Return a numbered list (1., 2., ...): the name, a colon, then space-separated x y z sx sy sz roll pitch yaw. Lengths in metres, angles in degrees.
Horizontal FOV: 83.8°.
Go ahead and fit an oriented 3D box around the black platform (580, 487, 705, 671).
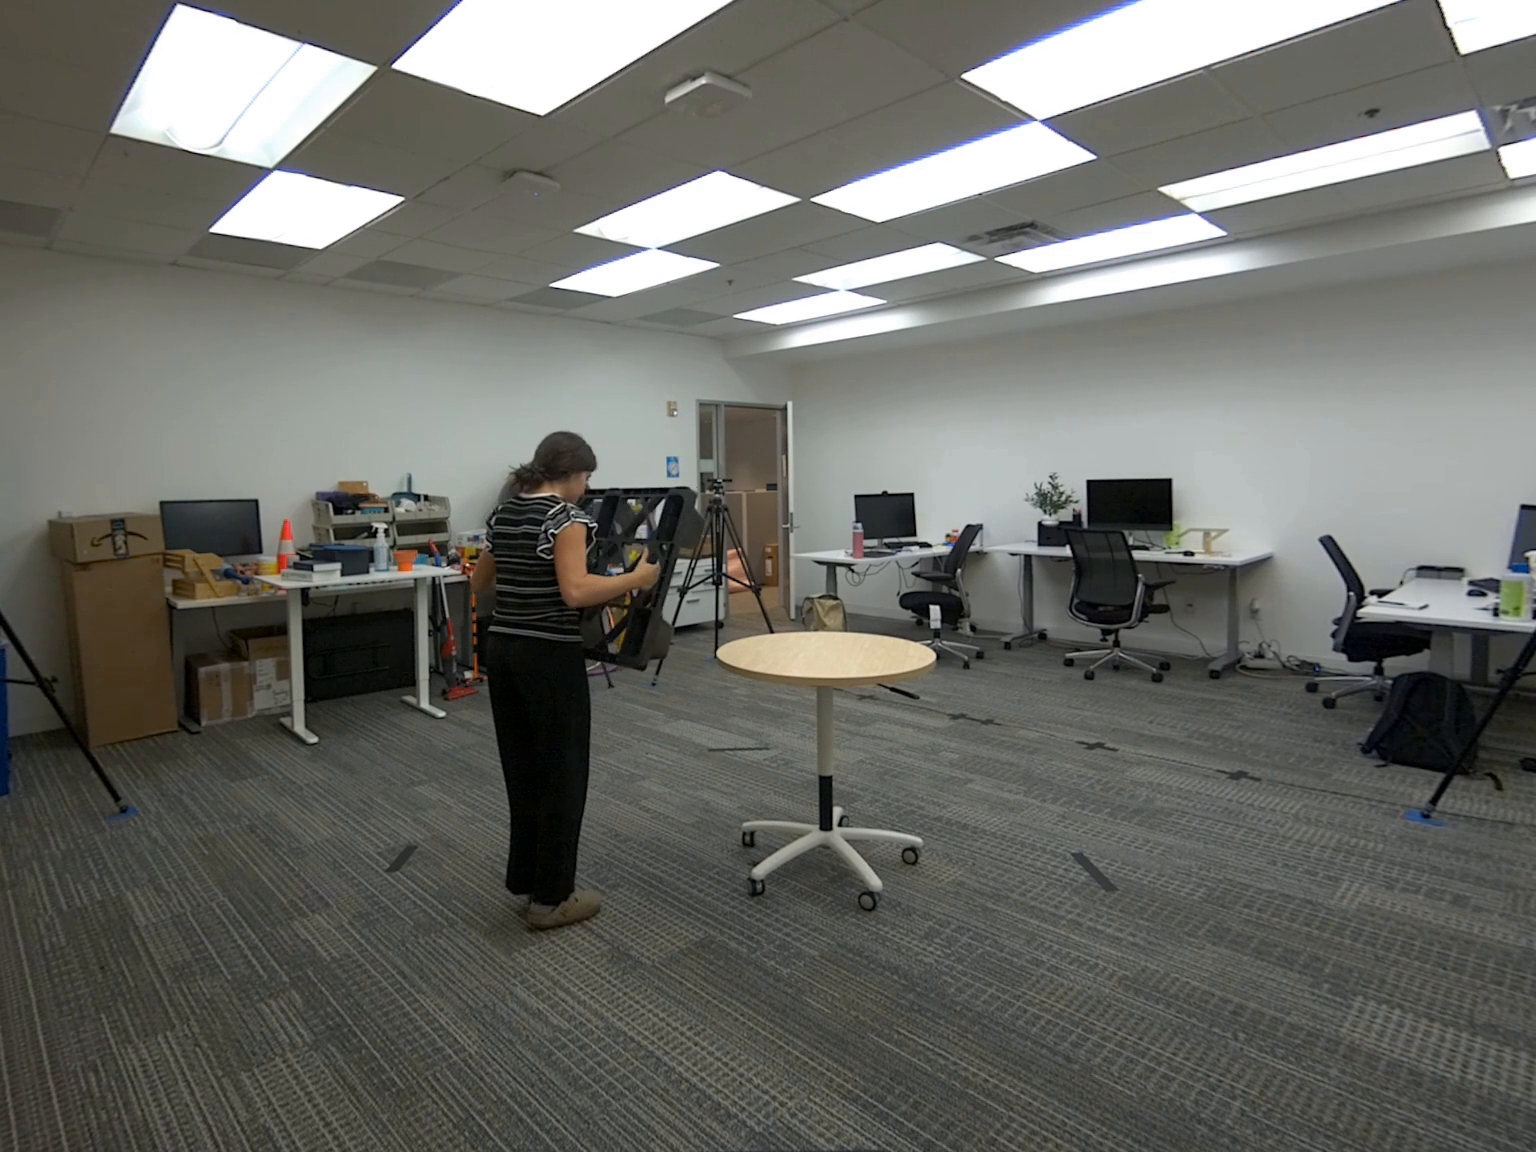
1. black platform: -0.572 -0.008 2.963 0.830 0.610 0.138 4 -18 44
